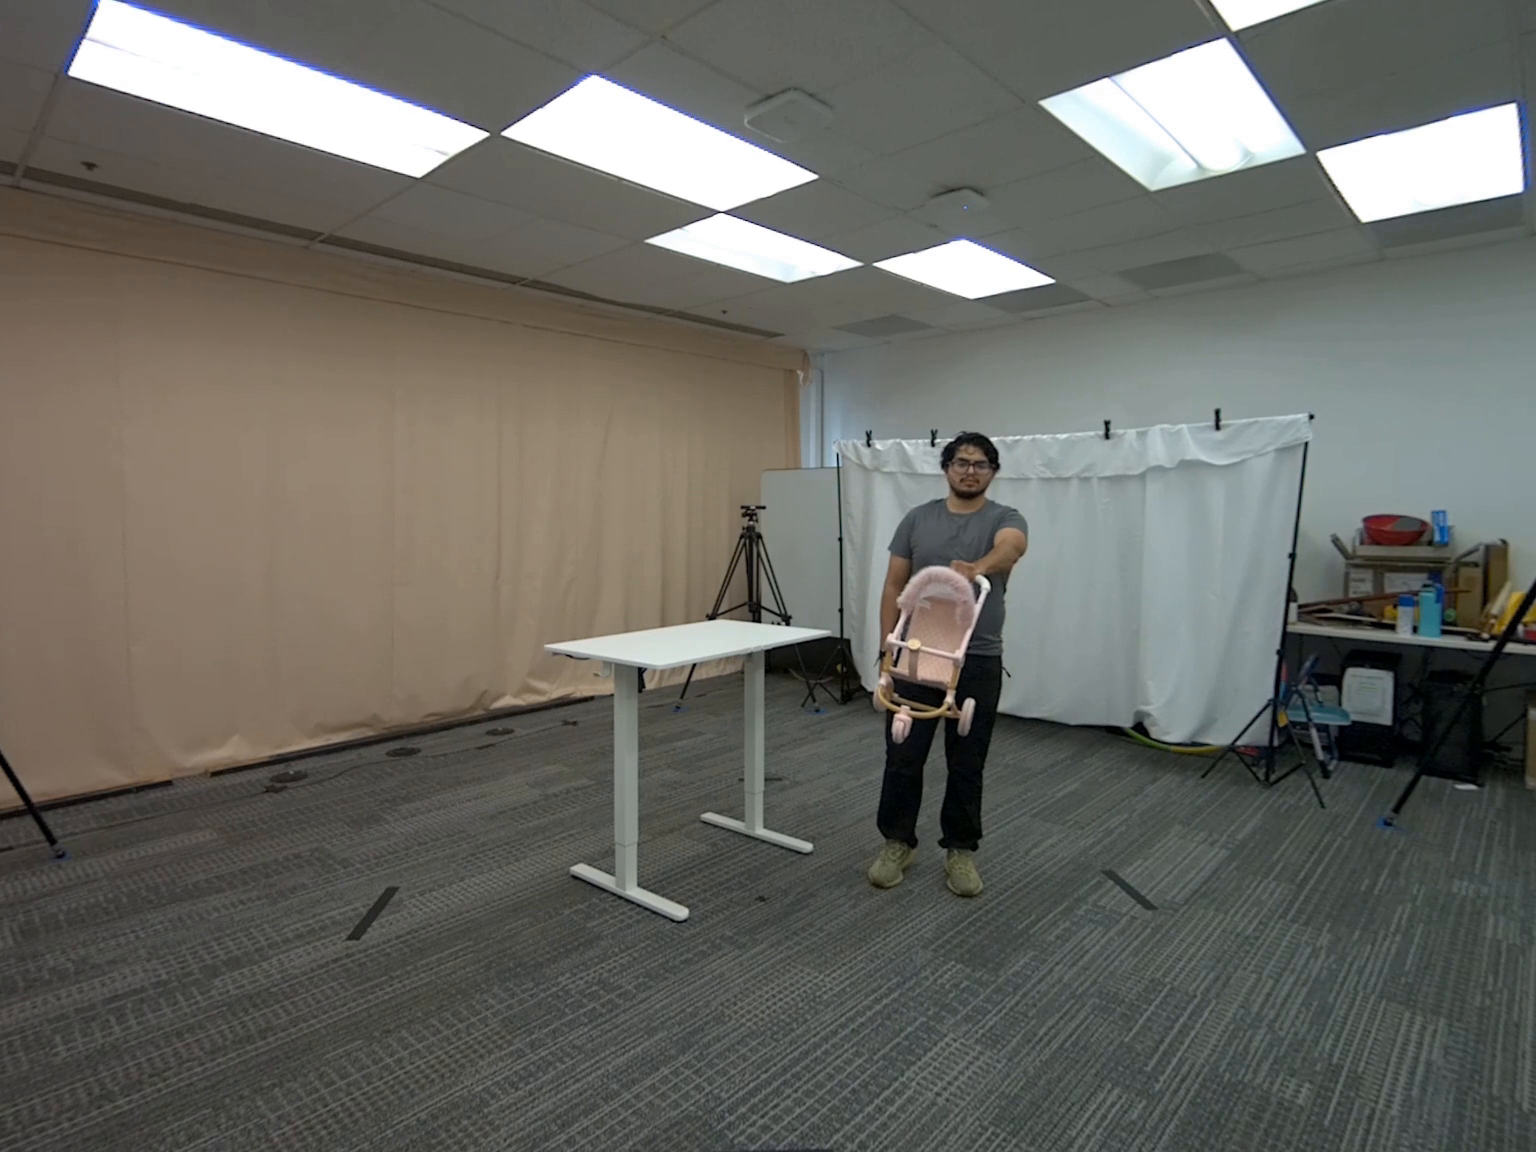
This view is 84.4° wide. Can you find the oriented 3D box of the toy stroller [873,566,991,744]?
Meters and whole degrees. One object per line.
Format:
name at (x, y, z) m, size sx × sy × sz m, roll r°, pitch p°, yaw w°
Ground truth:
toy stroller at (0.465, 0.217, 2.399) m, size 0.290 × 0.536 × 0.330 m, roll 12°, pitch -6°, yaw 28°
